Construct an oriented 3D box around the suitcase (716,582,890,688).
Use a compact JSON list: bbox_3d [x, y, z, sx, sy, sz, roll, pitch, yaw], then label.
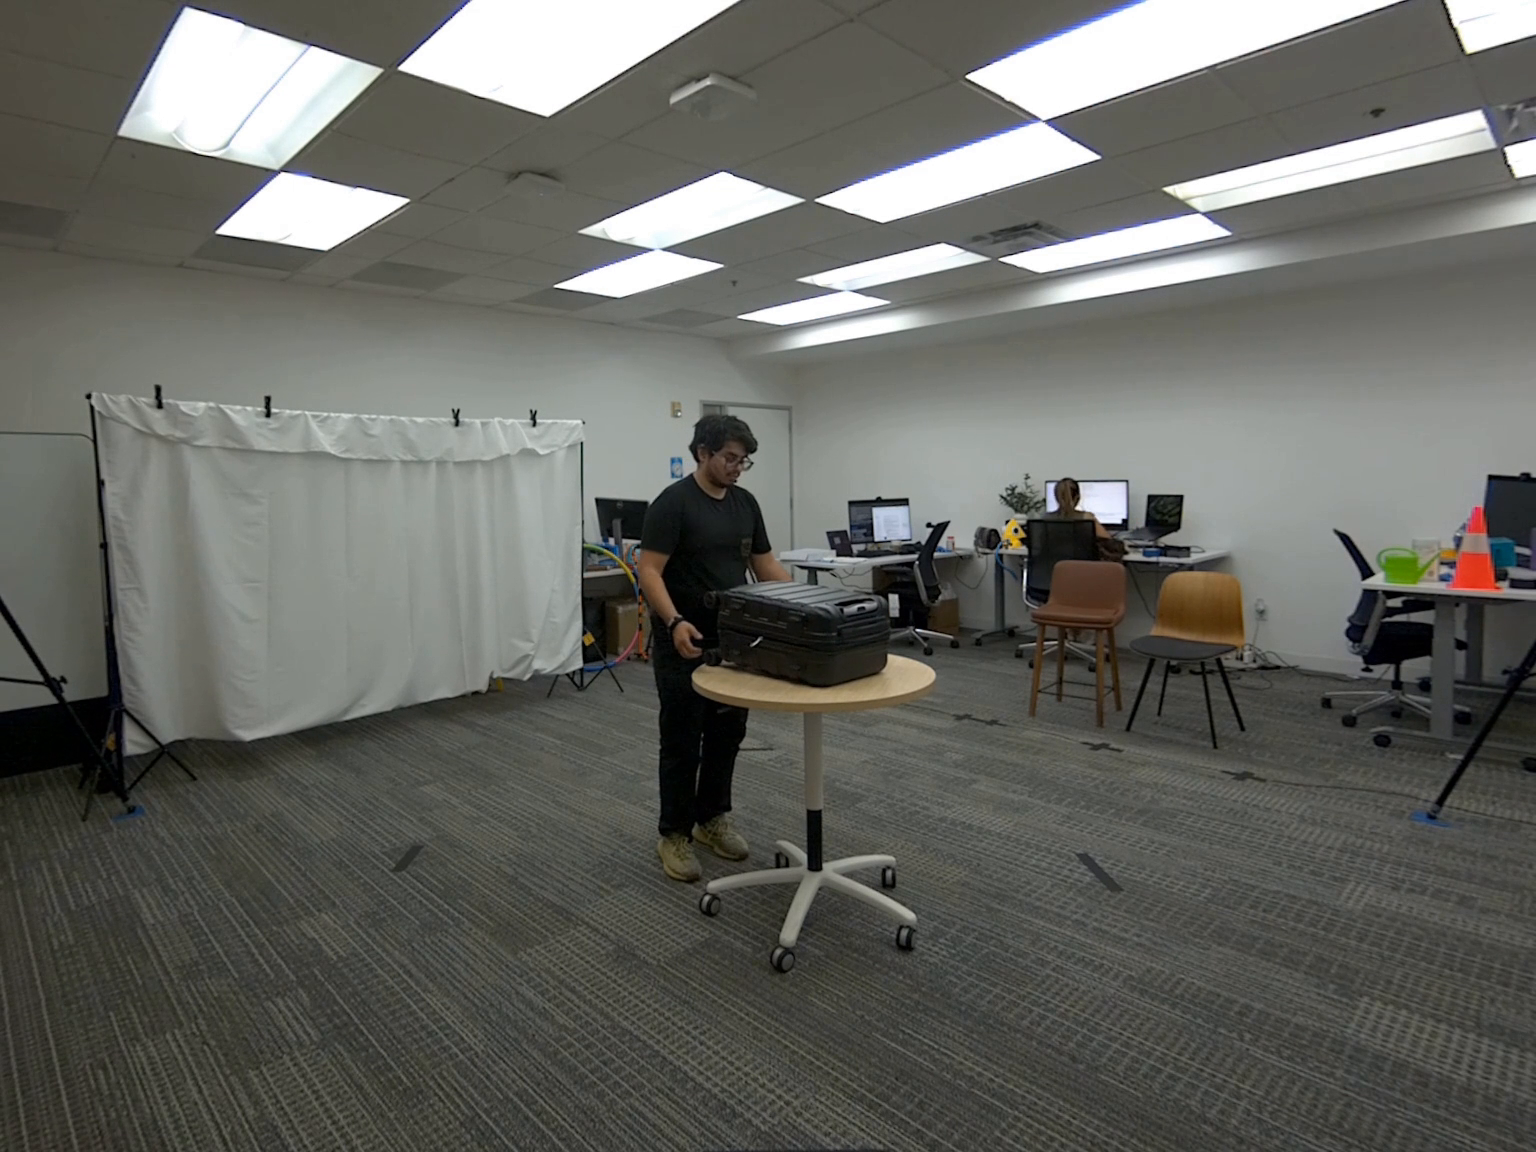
[{"bbox_3d":[0.103,0.179,2.752,0.365,0.247,0.567,-6,9,-44],"label":"suitcase"}]
